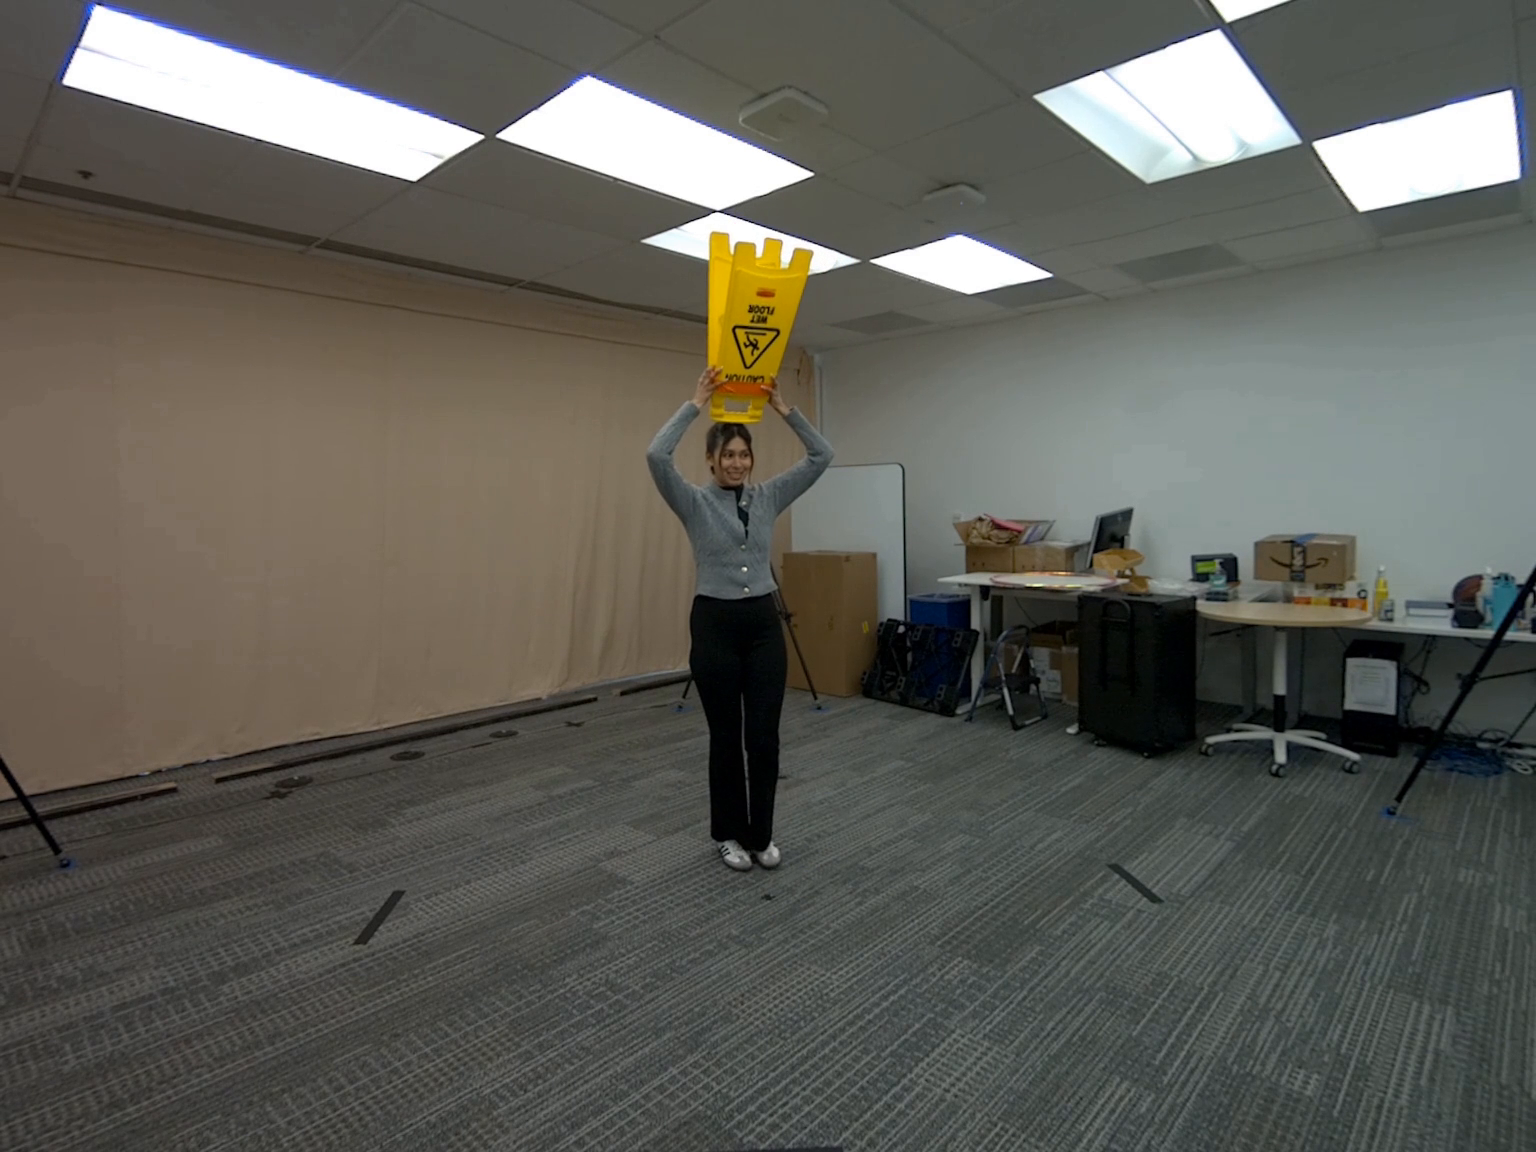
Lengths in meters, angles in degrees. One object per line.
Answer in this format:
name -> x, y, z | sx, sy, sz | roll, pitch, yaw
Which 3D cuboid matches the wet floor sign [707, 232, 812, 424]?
wet floor sign -> -0.072, -0.862, 2.999 | 0.276, 0.639, 0.299 | 0, 27, -21
